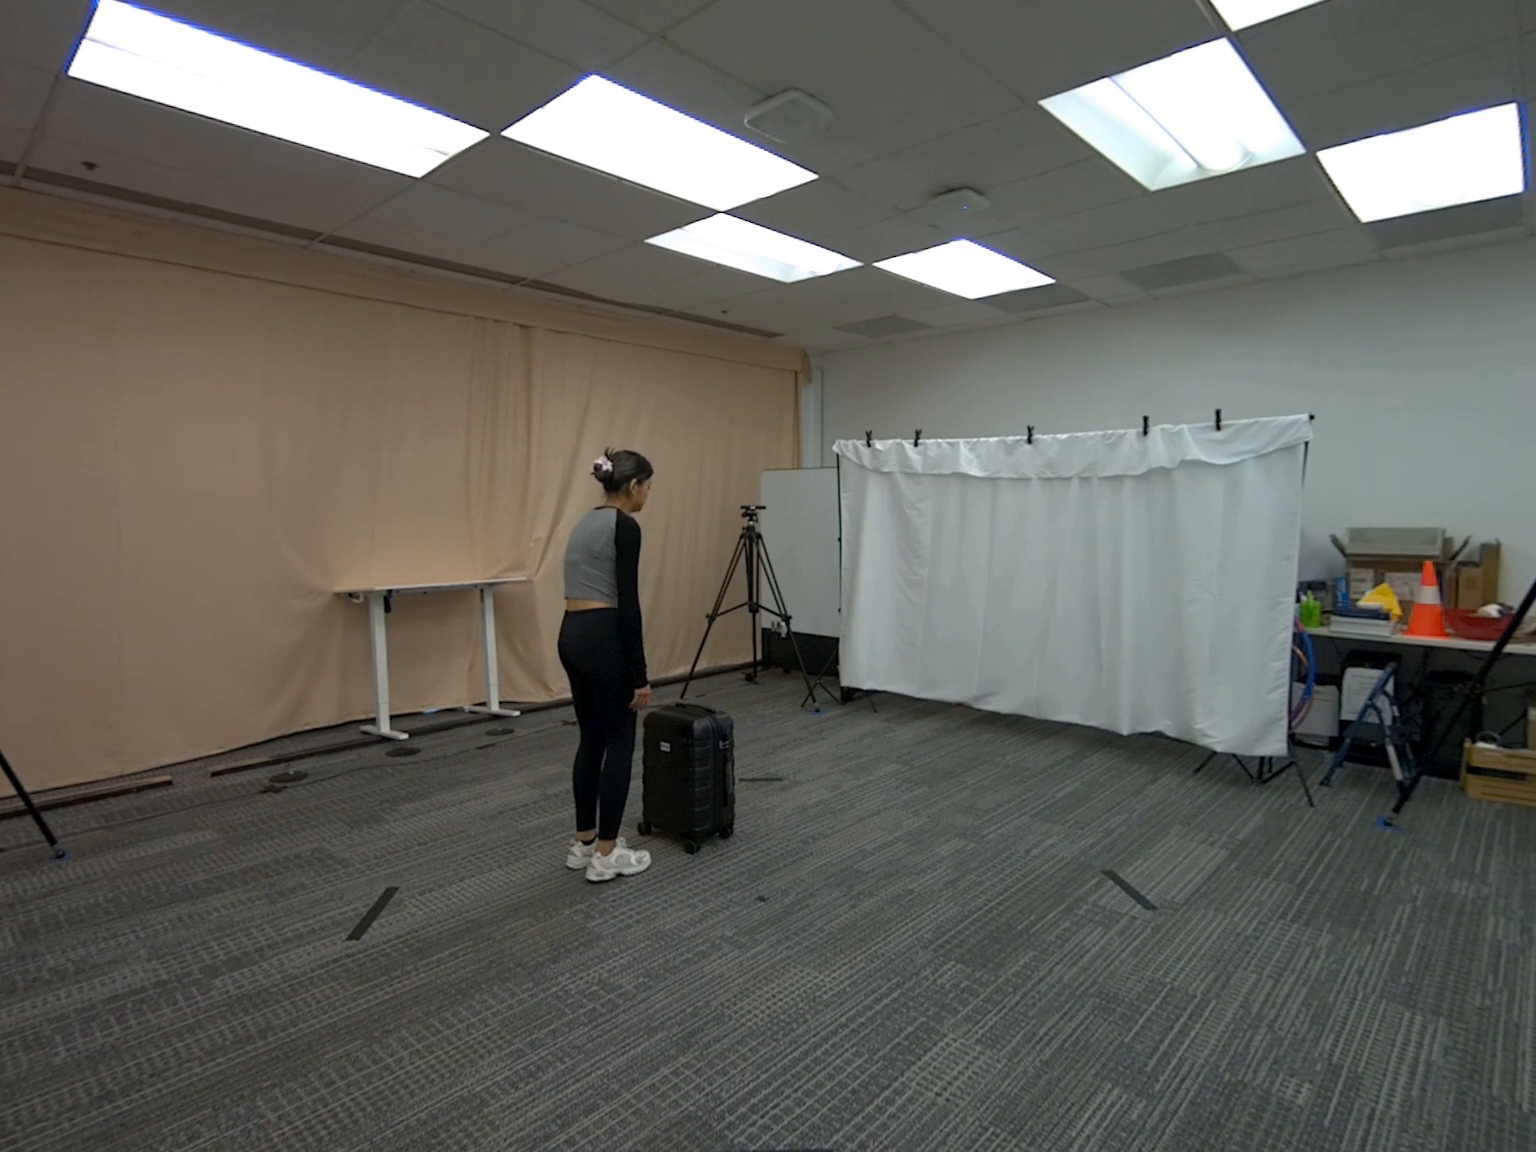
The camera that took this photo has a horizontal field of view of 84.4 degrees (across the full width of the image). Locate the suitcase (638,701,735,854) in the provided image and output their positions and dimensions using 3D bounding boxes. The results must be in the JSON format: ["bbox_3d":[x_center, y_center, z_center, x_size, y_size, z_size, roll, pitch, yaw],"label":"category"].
[{"bbox_3d":[-0.333,0.825,3.538,0.388,0.548,0.241,4,5,40],"label":"suitcase"}]
